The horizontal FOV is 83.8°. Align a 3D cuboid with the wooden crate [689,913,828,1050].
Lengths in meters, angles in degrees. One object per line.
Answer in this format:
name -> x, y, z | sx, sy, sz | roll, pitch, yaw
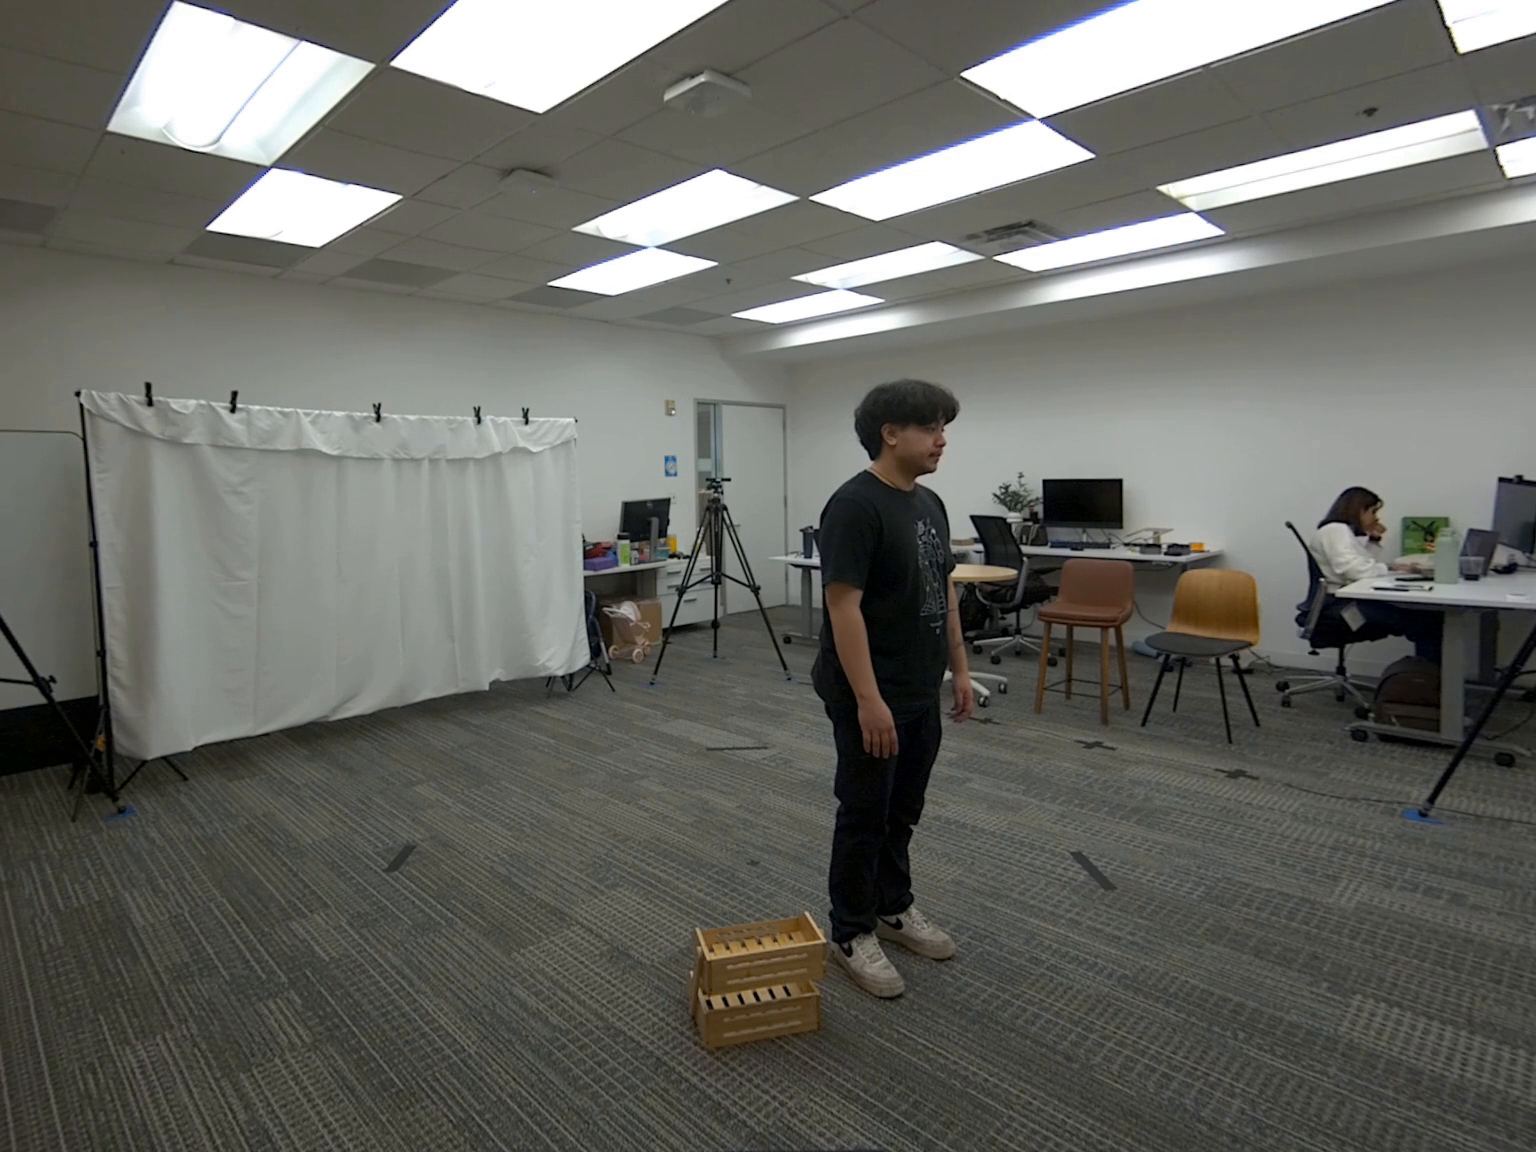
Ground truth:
wooden crate -> -0.033, 1.010, 2.220 | 0.320, 0.272, 0.308 | -3, 6, -15
